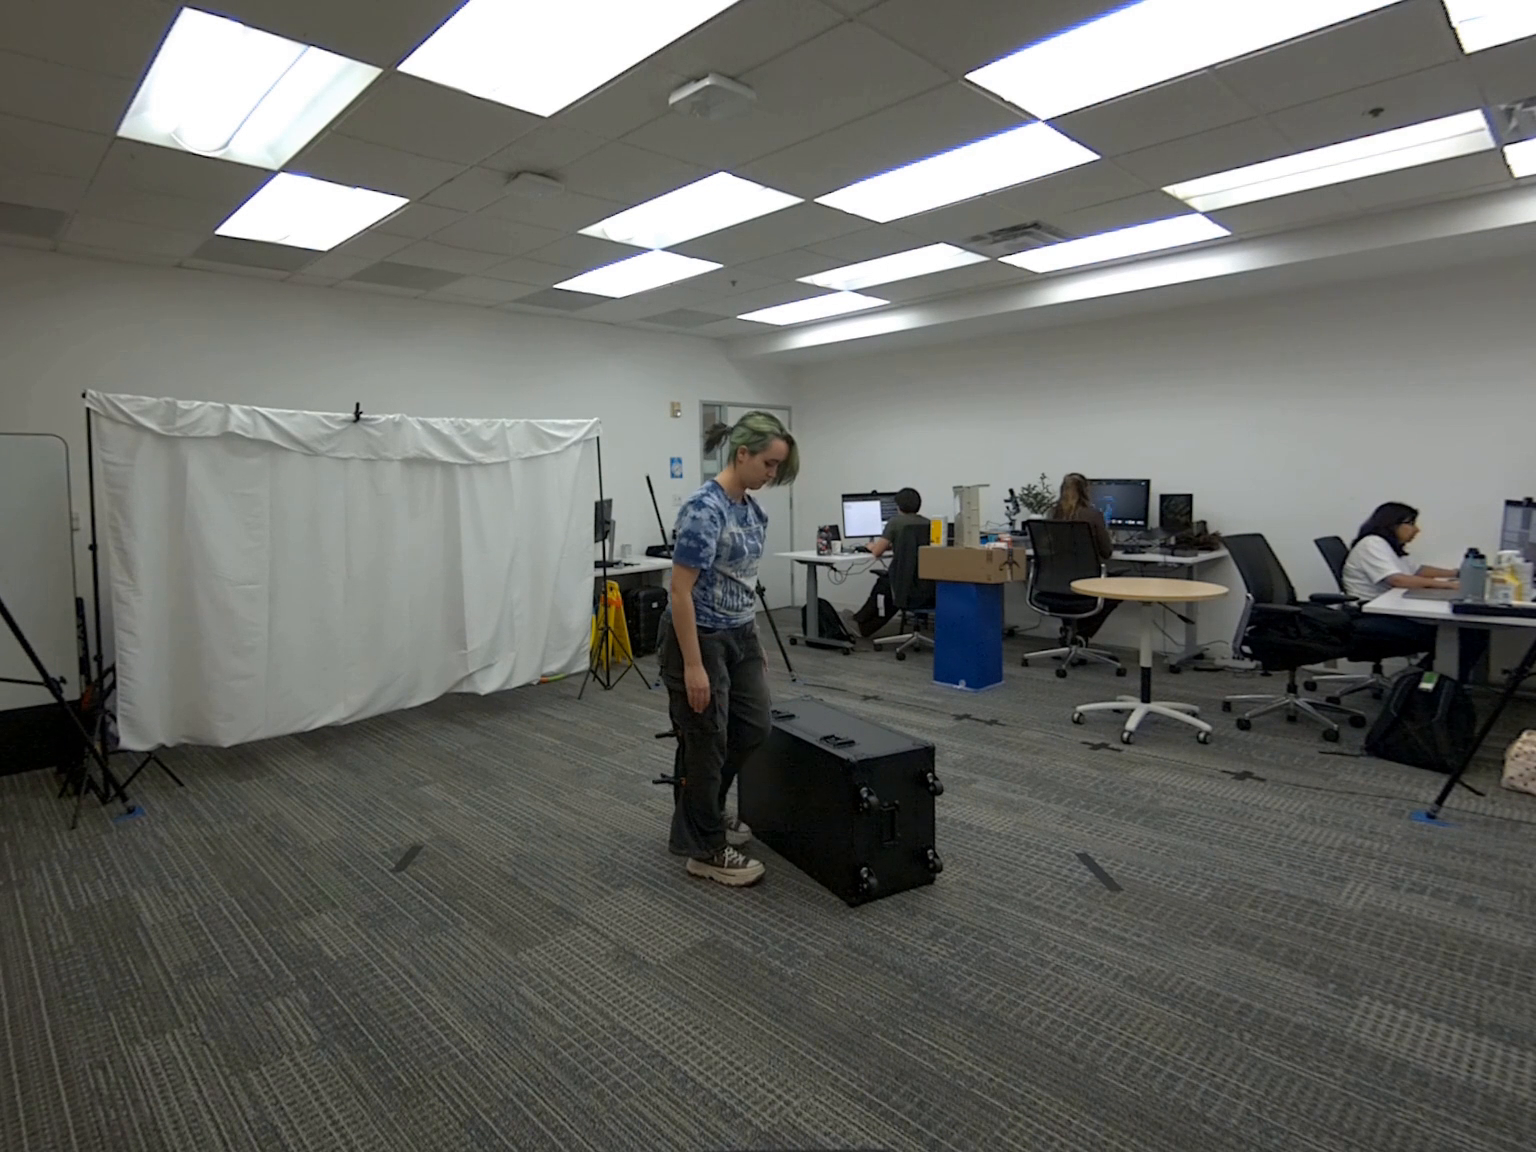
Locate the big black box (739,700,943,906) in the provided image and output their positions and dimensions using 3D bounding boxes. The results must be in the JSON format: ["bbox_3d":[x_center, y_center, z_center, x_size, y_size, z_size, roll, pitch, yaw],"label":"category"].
[{"bbox_3d":[0.253,0.793,3.160,0.387,0.519,0.885,-3,6,-28],"label":"big black box"}]
